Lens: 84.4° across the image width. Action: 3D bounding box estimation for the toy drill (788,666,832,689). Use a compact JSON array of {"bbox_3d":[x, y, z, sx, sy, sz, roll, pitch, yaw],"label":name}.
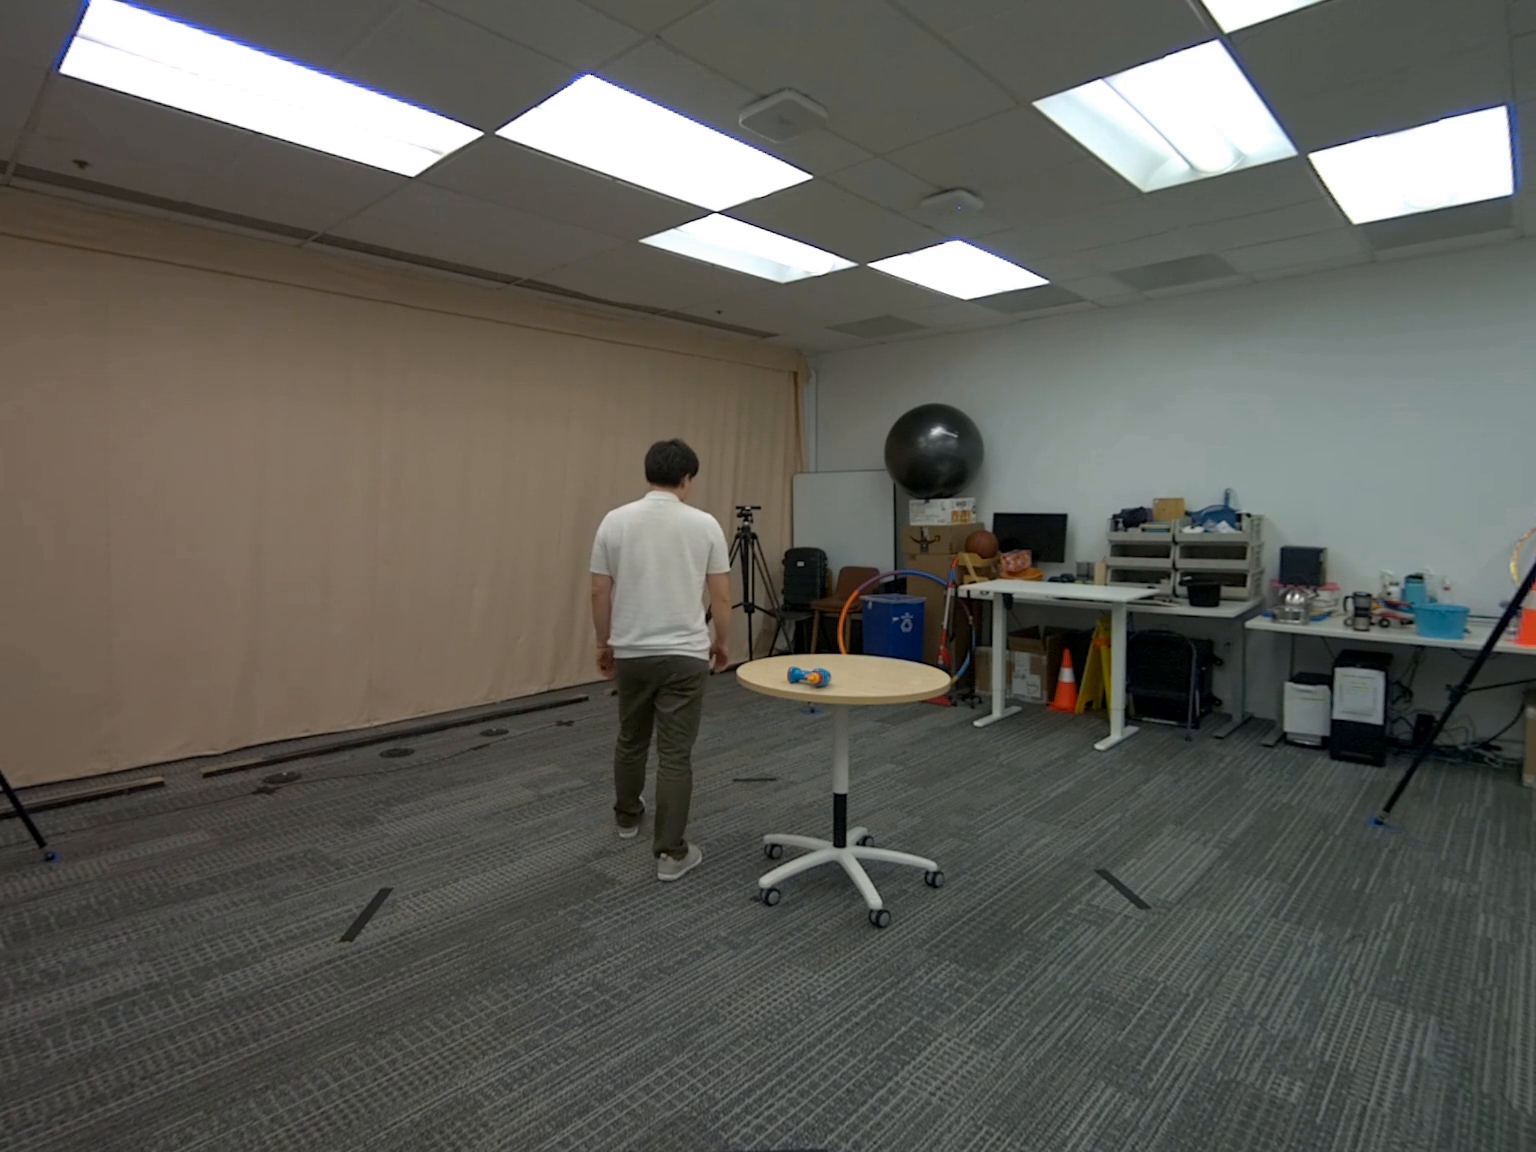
[{"bbox_3d":[0.140,0.341,2.822,0.150,0.061,0.165,1,-2,26],"label":"toy drill"}]
